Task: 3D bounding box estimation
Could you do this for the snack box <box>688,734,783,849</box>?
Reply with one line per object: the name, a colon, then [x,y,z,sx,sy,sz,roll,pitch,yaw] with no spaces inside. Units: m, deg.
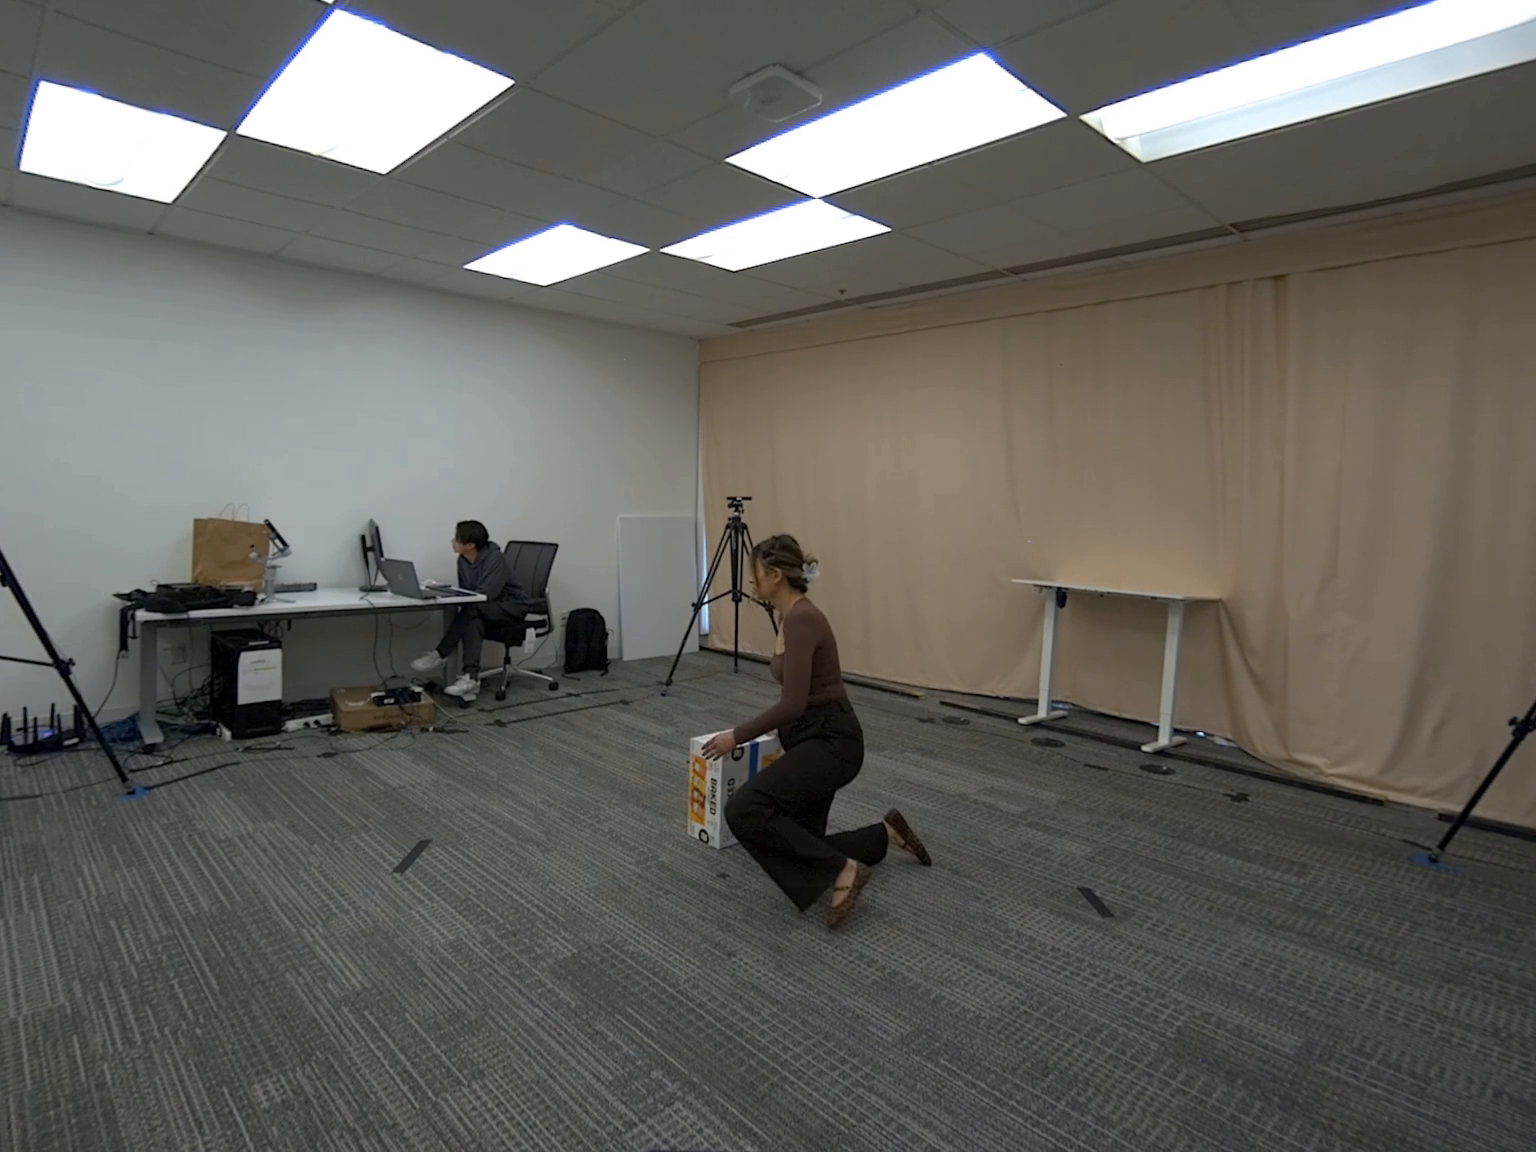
snack box: [-0.145,0.870,3.509,0.332,0.404,0.211,-2,5,-44]
